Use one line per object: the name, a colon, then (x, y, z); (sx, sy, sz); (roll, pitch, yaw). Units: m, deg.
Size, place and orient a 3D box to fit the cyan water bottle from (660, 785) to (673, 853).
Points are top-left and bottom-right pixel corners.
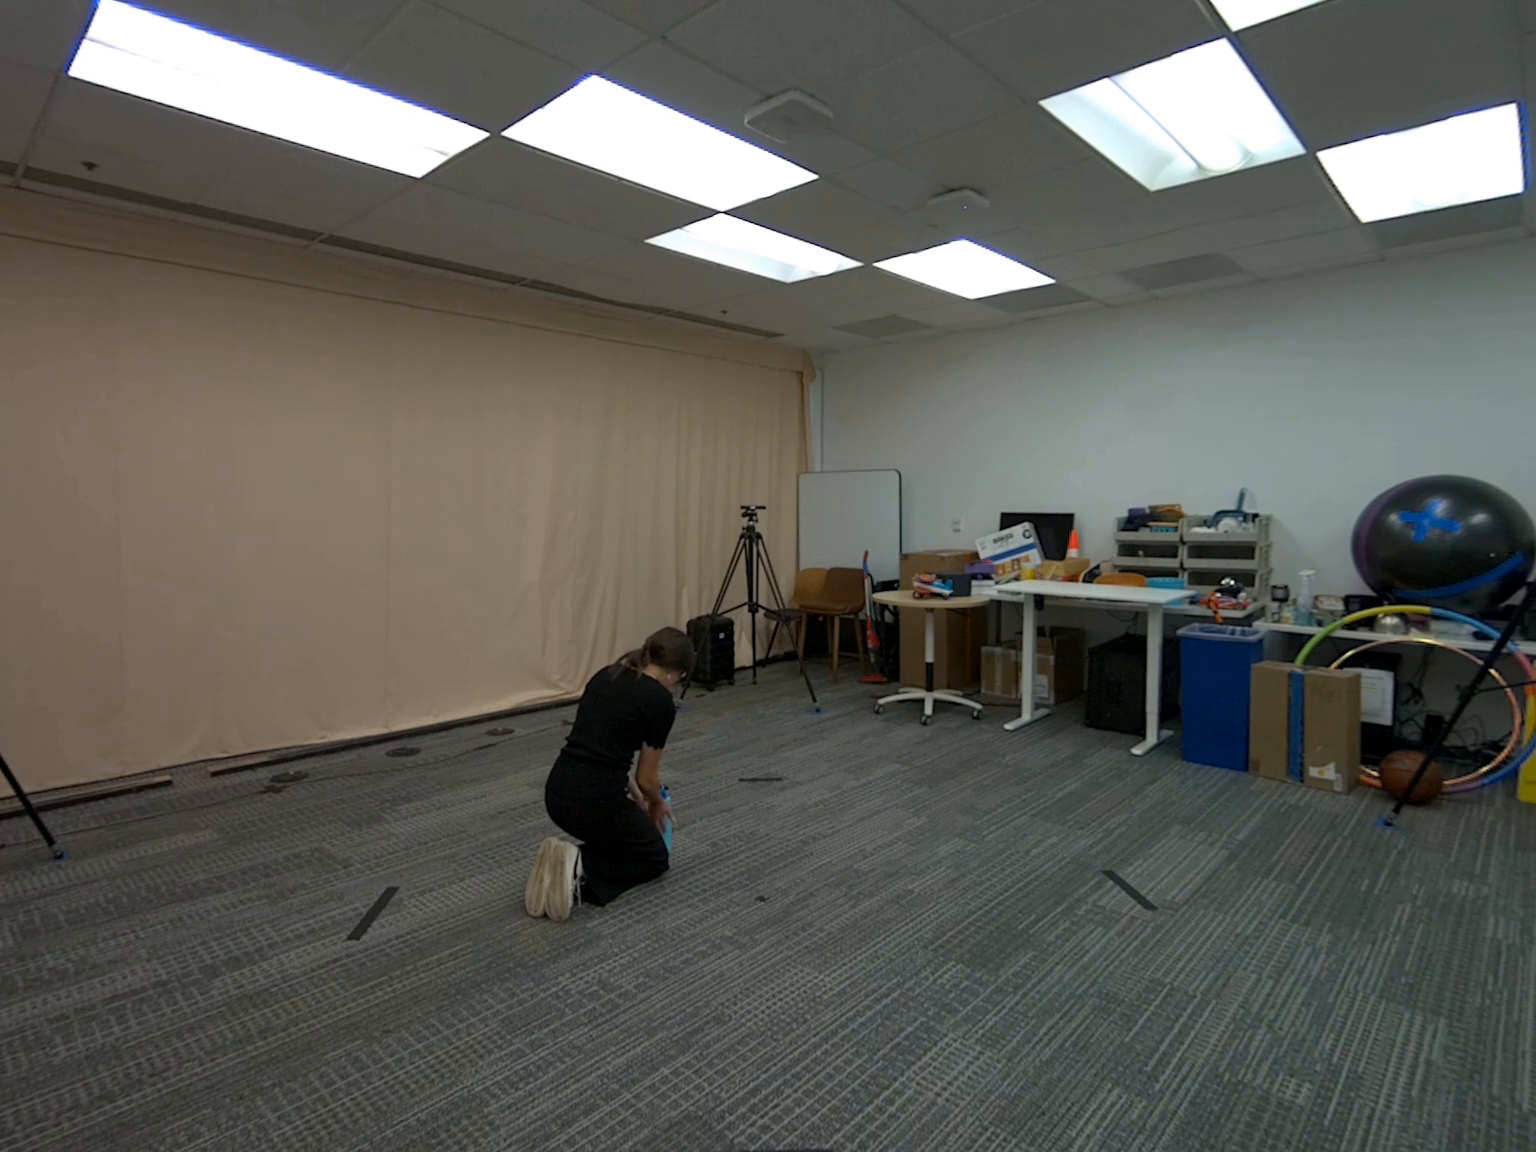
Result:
cyan water bottle: (-0.433, 0.975, 3.393); (0.092, 0.283, 0.092); (0, 4, -2)
